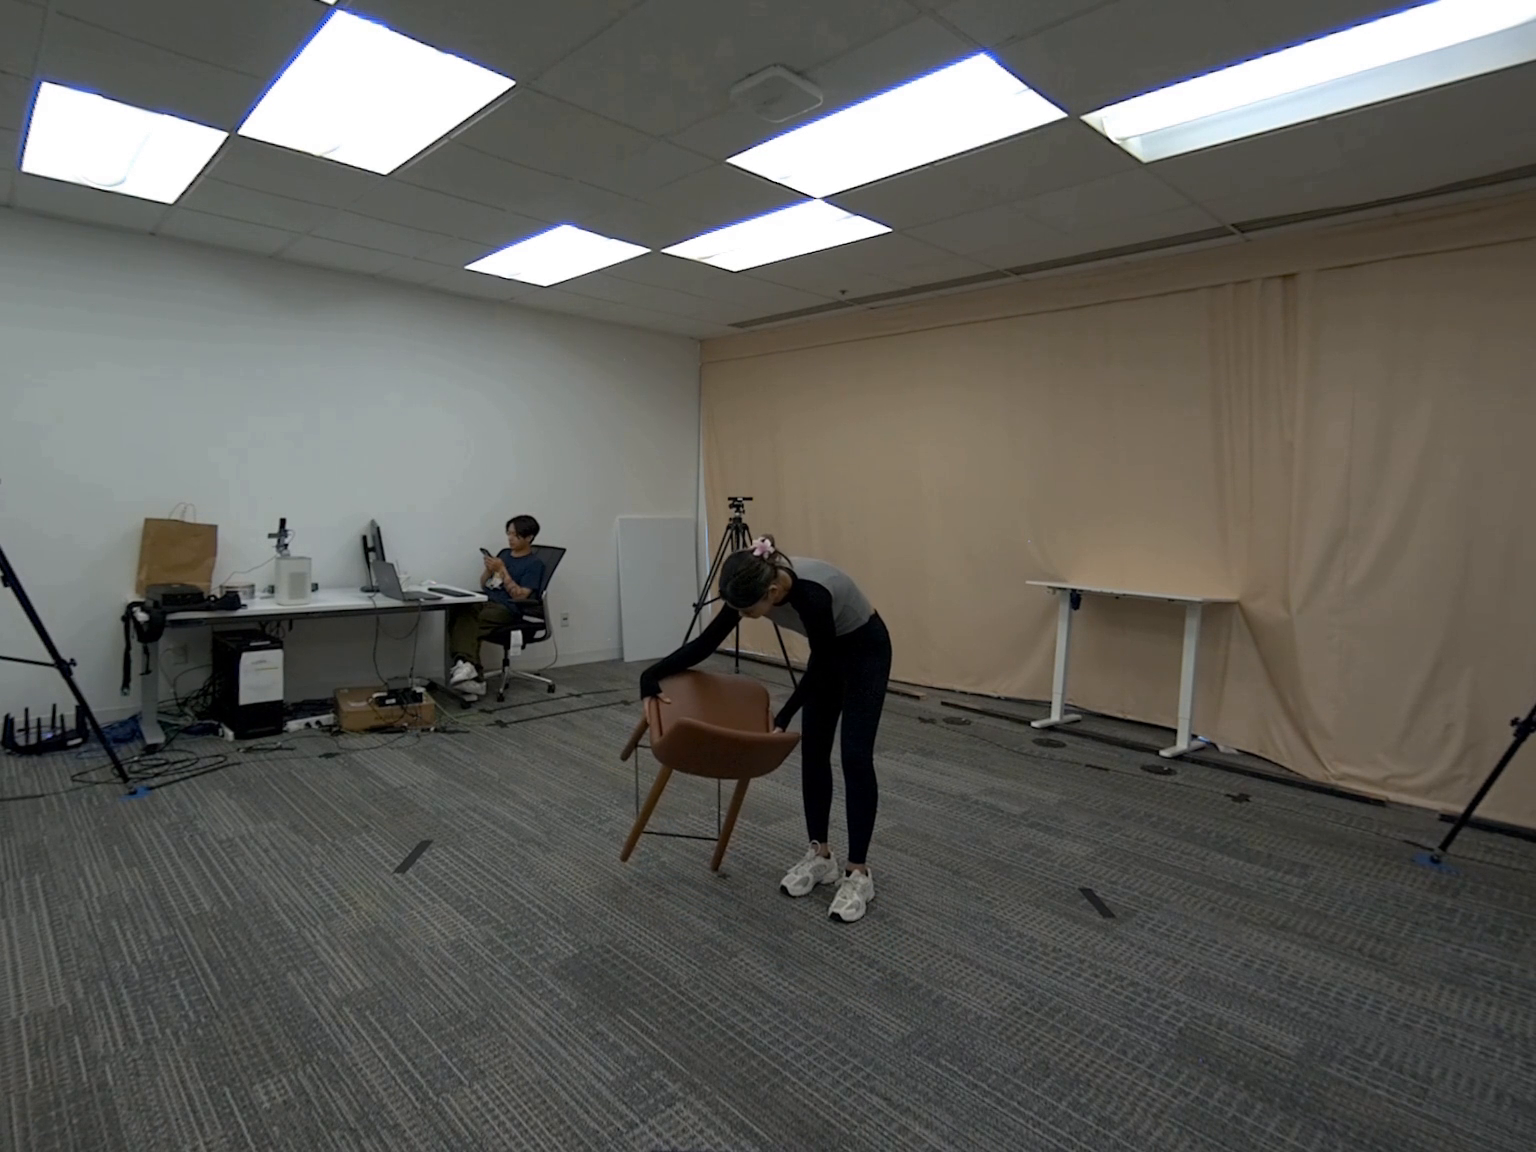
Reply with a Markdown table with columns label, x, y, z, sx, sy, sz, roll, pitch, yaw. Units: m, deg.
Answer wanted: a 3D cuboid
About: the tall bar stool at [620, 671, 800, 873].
| label | x | y | z | sx | sy | sz | roll | pitch | yaw |
| --- | --- | --- | --- | --- | --- | --- | --- | --- | --- |
| tall bar stool | -0.246 | 0.624 | 2.995 | 0.450 | 0.881 | 0.479 | 11 | 42 | -17 |
